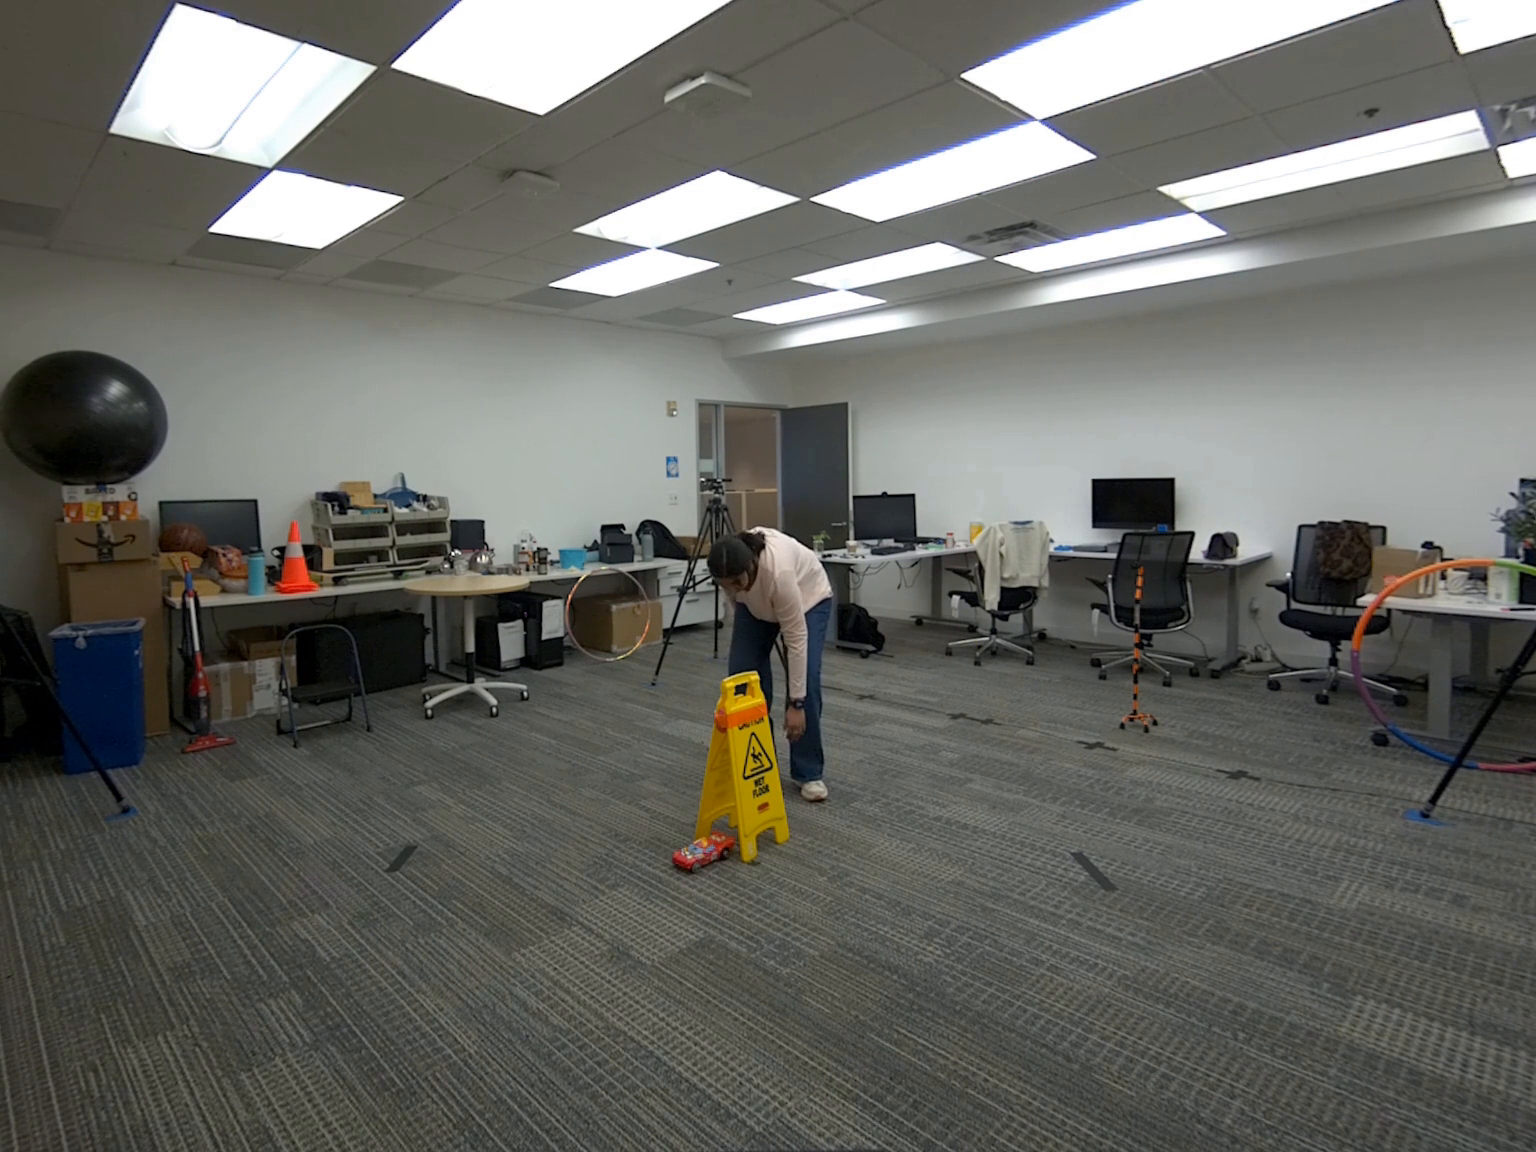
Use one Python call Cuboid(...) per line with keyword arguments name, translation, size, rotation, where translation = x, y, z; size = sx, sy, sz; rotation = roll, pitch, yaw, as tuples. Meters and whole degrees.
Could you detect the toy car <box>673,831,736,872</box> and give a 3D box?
Cuboid(name="toy car", translation=(-0.232, 1.018, 3.135), size=(0.134, 0.082, 0.250), rotation=(3, 16, 44))
